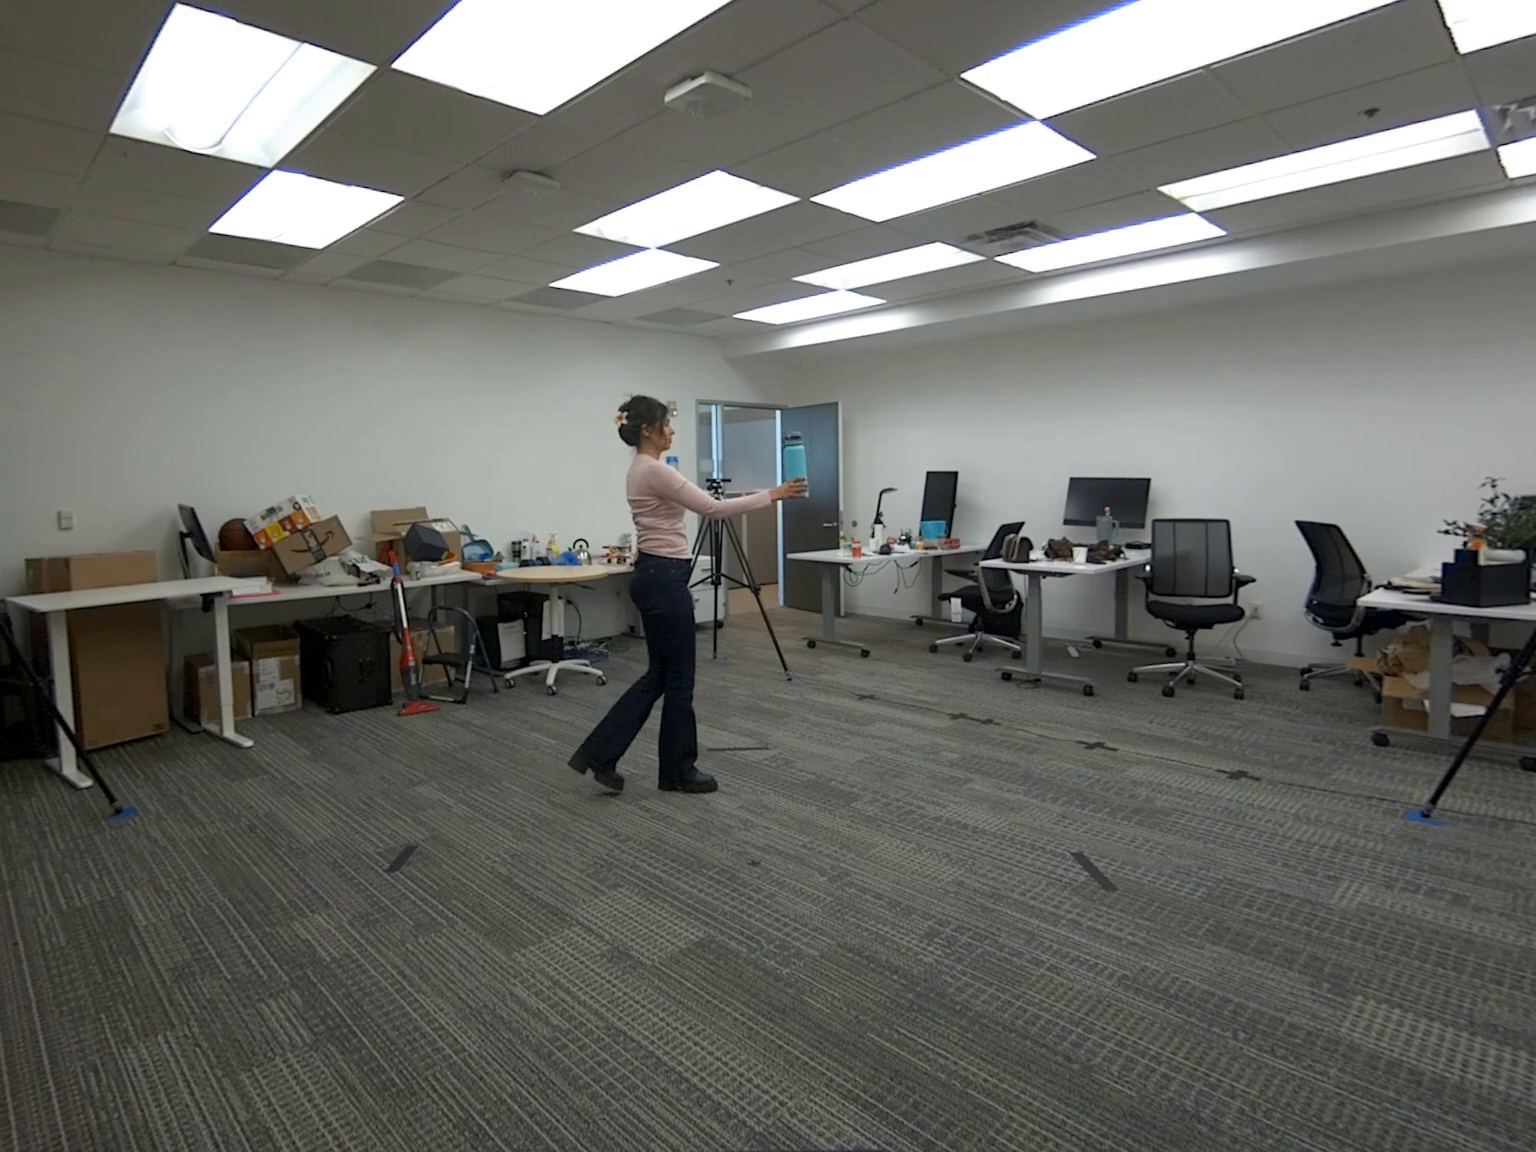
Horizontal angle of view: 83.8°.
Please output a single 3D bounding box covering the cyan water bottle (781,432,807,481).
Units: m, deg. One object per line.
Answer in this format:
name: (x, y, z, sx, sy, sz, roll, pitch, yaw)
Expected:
cyan water bottle: (0.112, -0.477, 3.680, 0.092, 0.282, 0.093, -6, 5, -1)
